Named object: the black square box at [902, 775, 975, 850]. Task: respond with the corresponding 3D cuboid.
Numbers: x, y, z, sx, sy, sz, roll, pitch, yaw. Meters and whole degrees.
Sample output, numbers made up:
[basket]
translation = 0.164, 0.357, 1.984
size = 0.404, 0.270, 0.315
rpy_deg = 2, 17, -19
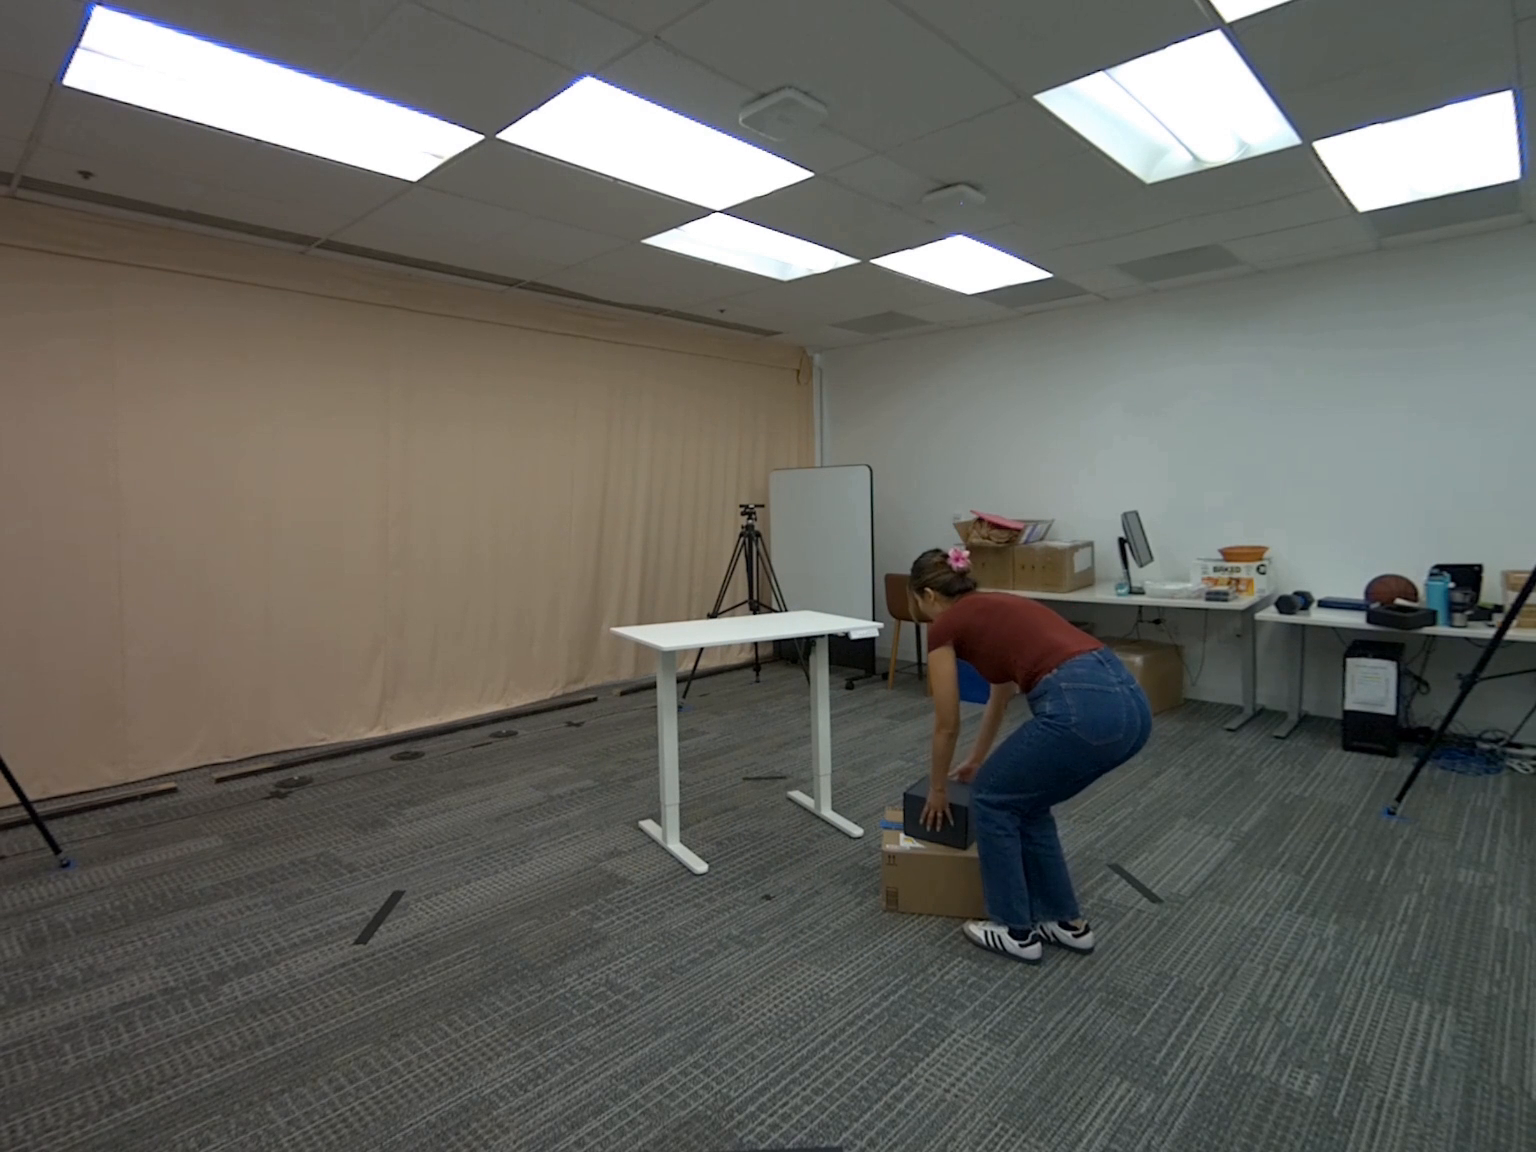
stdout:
[black square box]
translation = 0.635, 0.827, 2.976
size = 0.235, 0.155, 0.211
rpy_deg = 4, 8, 34
